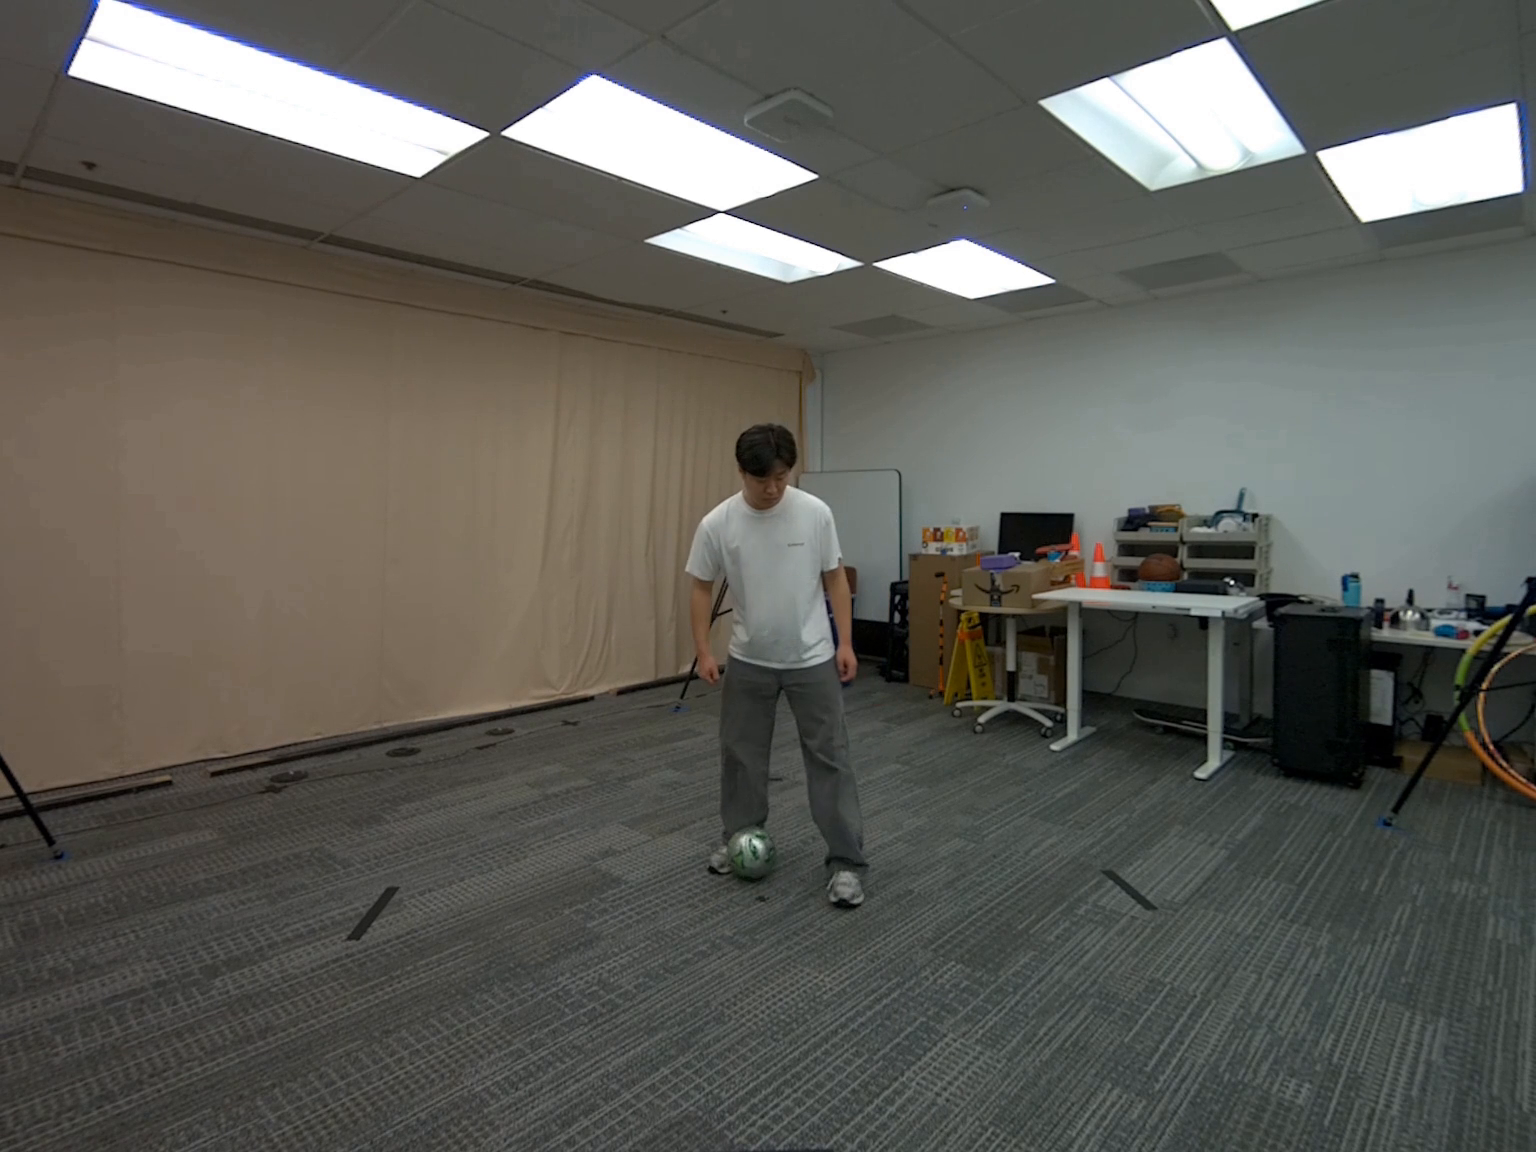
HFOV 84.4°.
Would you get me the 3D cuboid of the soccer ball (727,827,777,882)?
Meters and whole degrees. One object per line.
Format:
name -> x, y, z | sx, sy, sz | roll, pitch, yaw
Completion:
soccer ball -> -0.059, 1.038, 3.143 | 0.187, 0.187, 0.188 | 0, 4, -2
